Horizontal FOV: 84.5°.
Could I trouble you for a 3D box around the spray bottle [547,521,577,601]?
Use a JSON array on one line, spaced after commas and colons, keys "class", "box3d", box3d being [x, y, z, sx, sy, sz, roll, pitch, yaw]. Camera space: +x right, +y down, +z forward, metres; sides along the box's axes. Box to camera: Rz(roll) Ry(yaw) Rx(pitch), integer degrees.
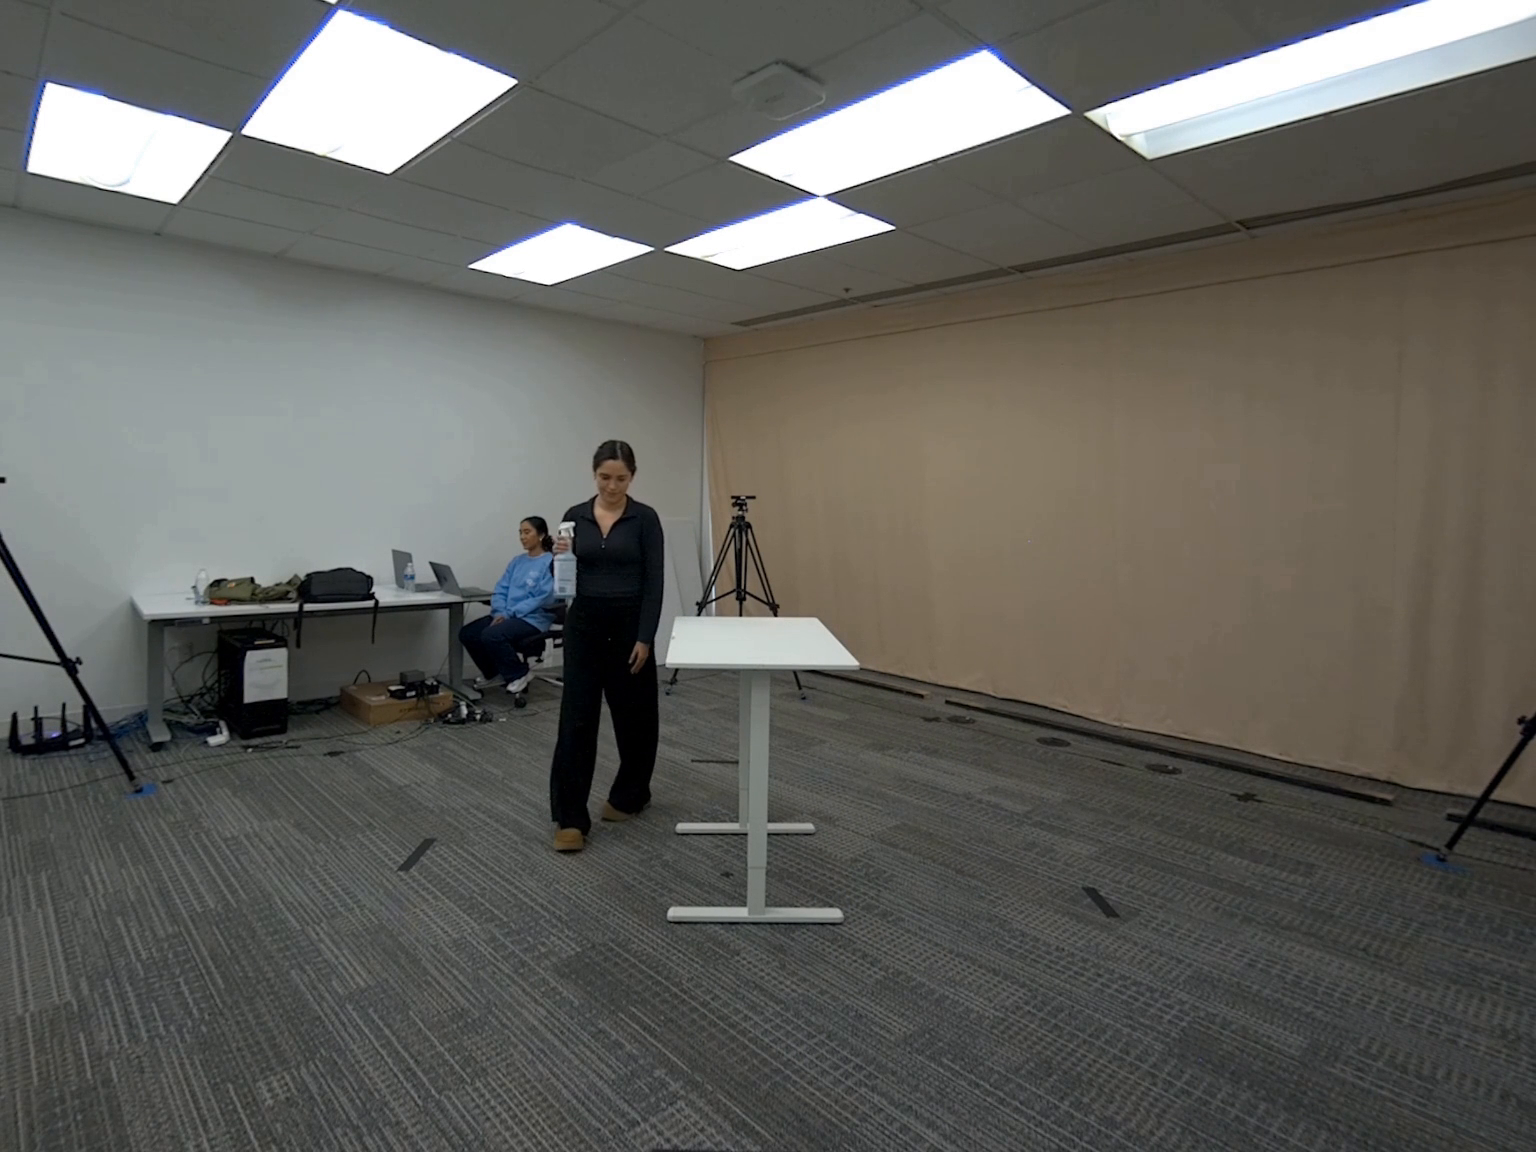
[{"class": "spray bottle", "box3d": [-0.799, -0.061, 3.279, 0.085, 0.297, 0.092, 1, 3, -26]}]
